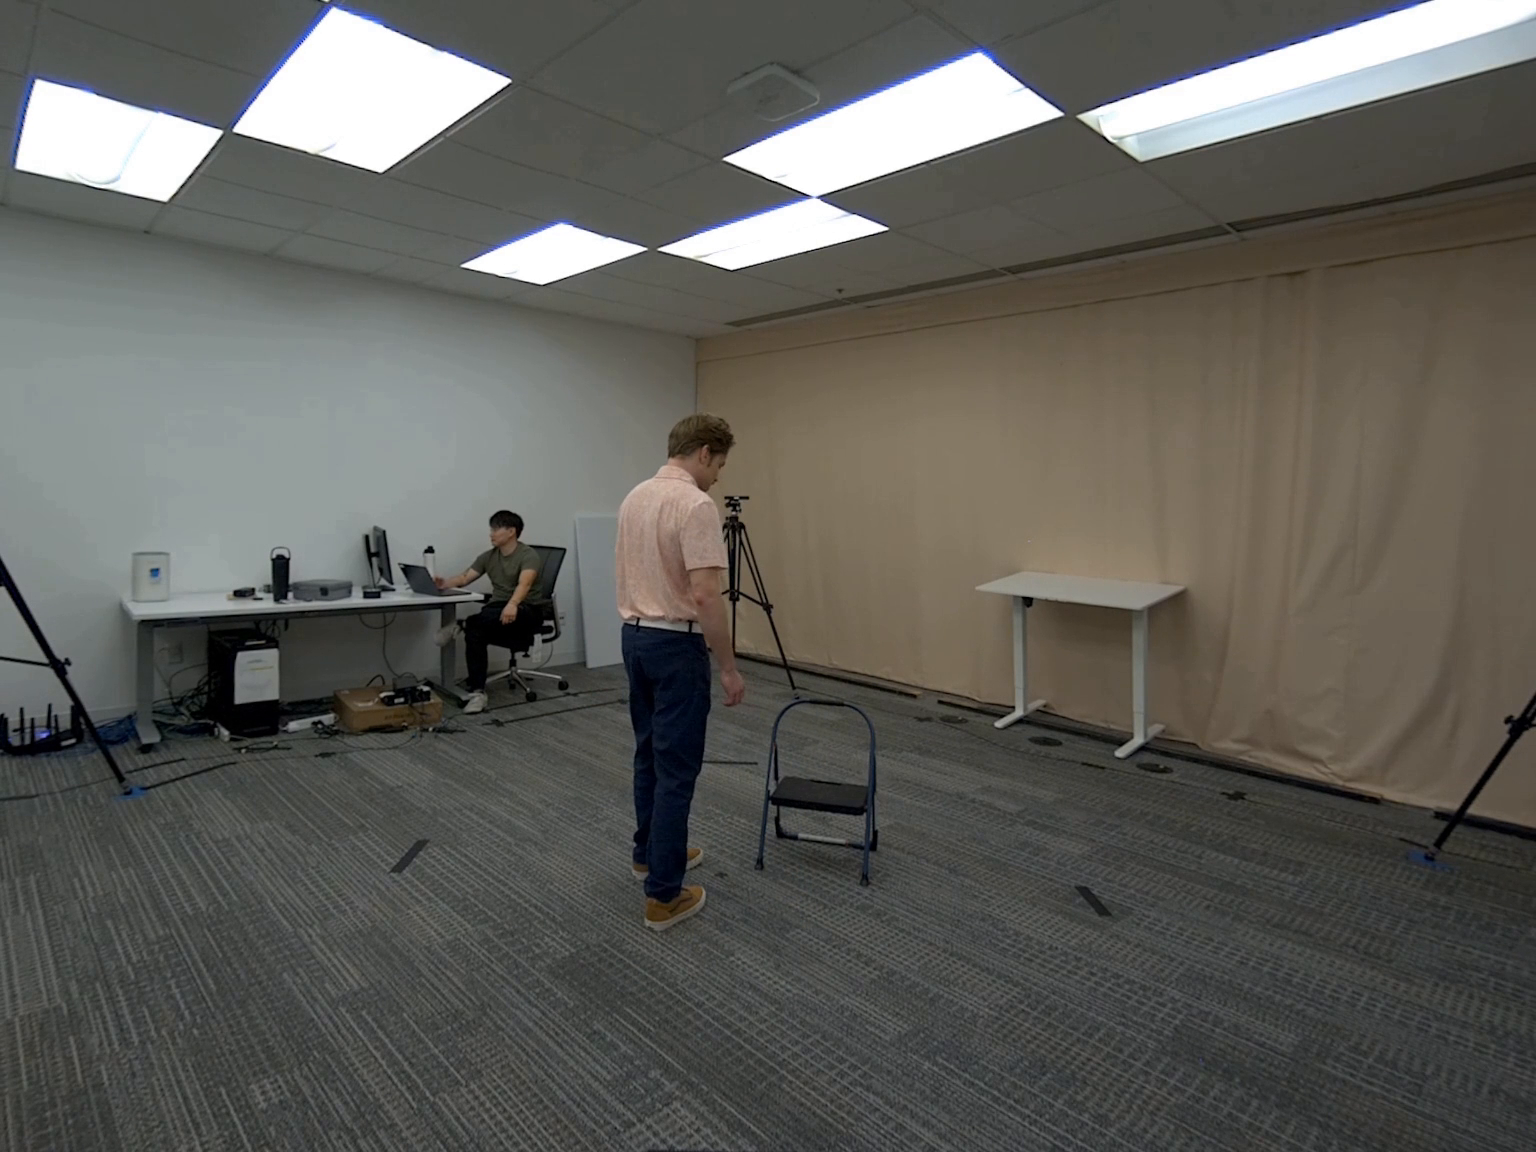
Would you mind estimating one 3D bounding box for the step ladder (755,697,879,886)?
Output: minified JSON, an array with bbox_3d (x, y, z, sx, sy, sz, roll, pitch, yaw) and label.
[{"bbox_3d":[0.200,0.795,3.252,0.436,0.605,0.346,3,3,15],"label":"step ladder"}]
